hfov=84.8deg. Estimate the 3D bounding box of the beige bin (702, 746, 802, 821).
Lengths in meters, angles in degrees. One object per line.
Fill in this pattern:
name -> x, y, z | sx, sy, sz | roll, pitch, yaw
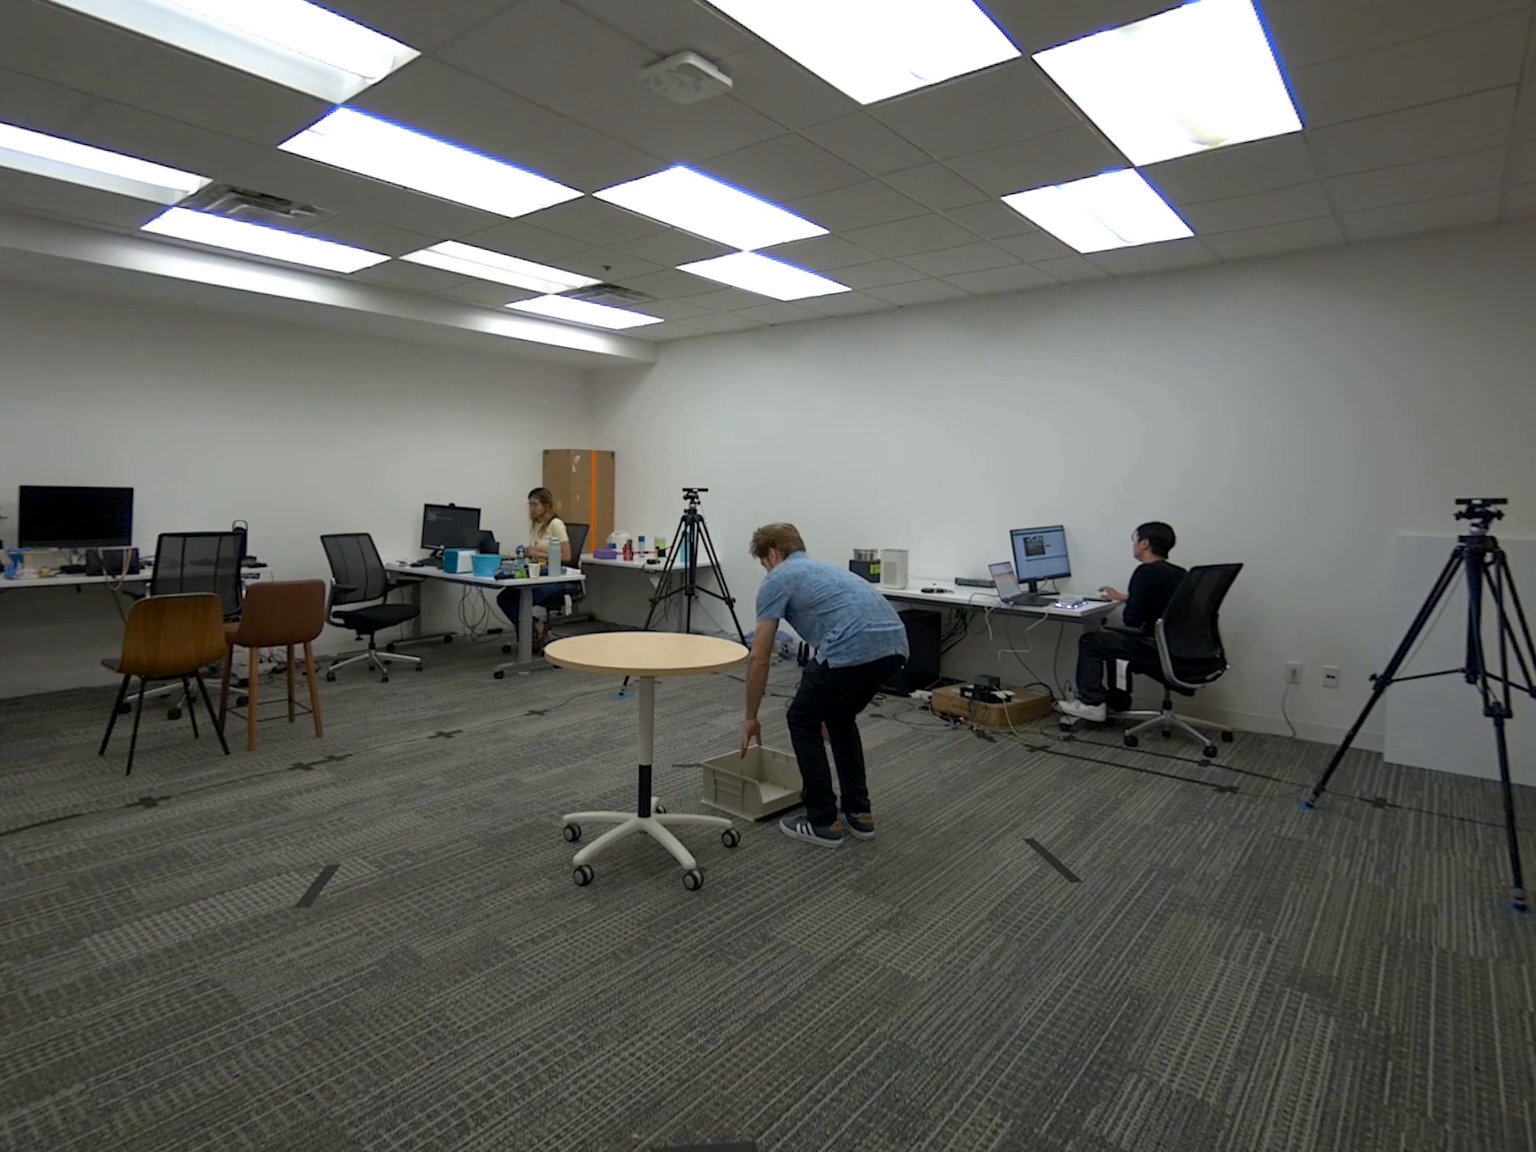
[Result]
beige bin -> -0.041, 0.921, 3.805 | 0.390, 0.188, 0.410 | 5, 7, 42
